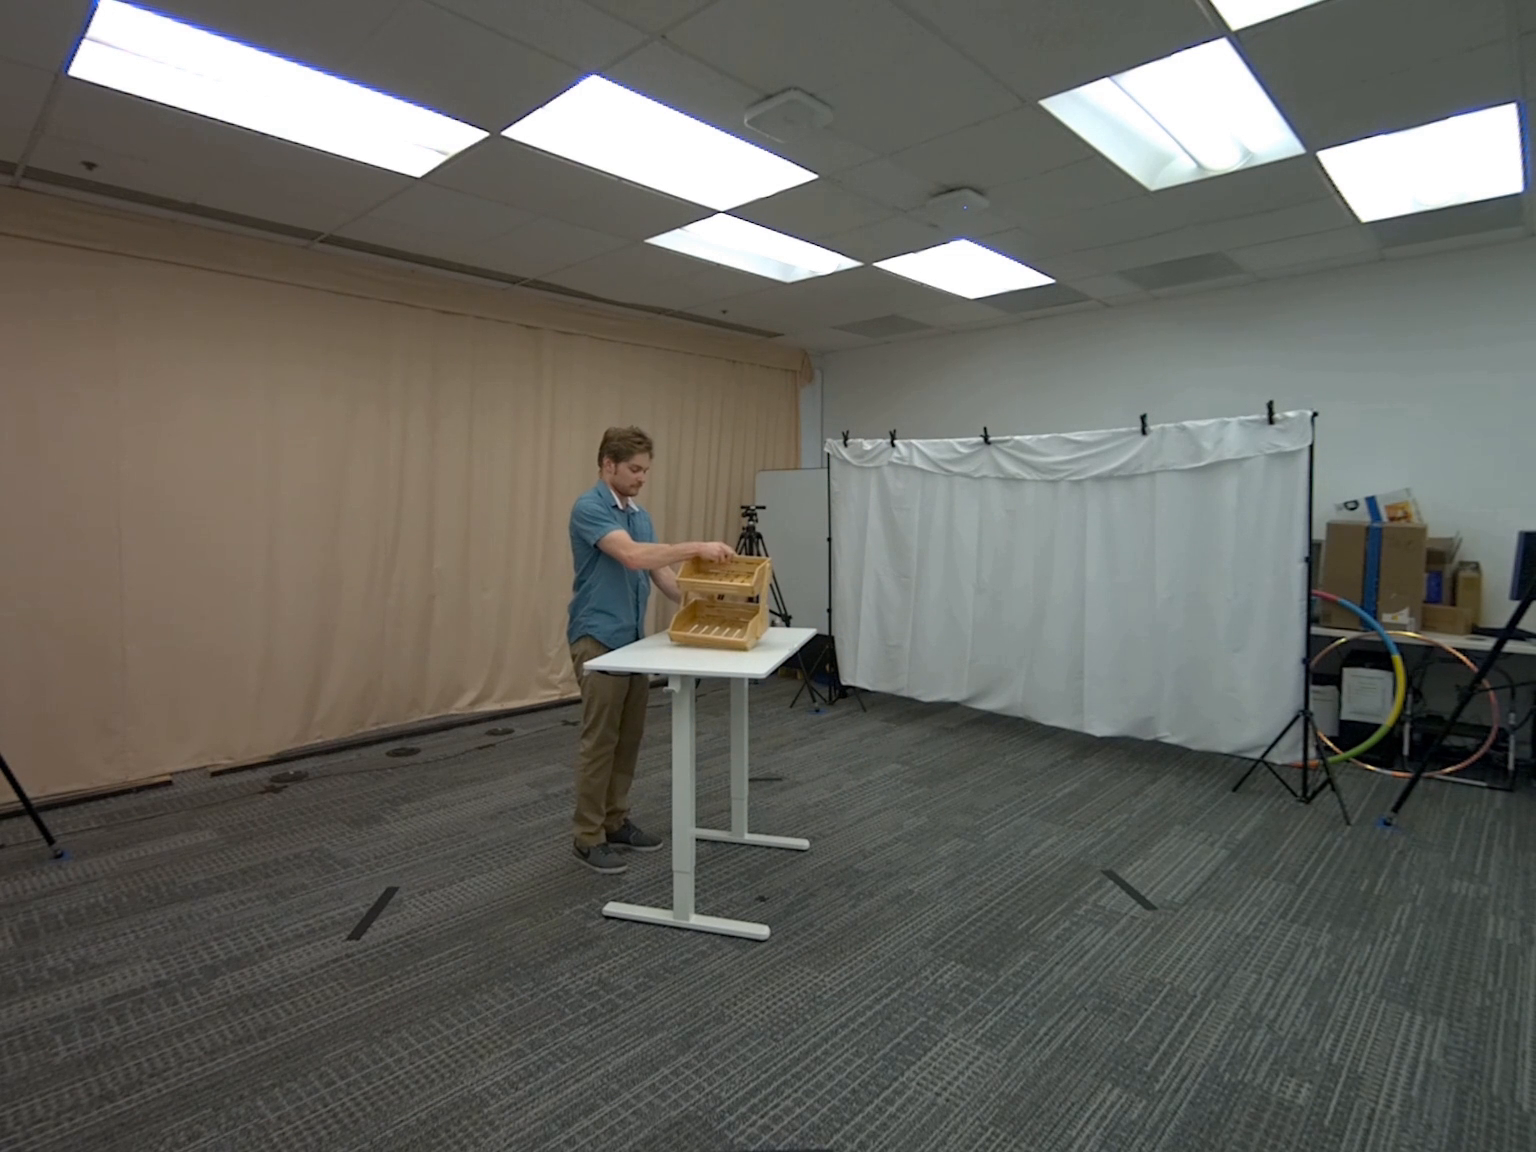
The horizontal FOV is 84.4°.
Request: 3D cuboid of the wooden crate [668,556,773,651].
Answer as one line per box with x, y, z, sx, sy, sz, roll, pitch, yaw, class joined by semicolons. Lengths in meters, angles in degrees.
-0.173;0.089;3.072;0.332;0.270;0.298;4;18;20;wooden crate
